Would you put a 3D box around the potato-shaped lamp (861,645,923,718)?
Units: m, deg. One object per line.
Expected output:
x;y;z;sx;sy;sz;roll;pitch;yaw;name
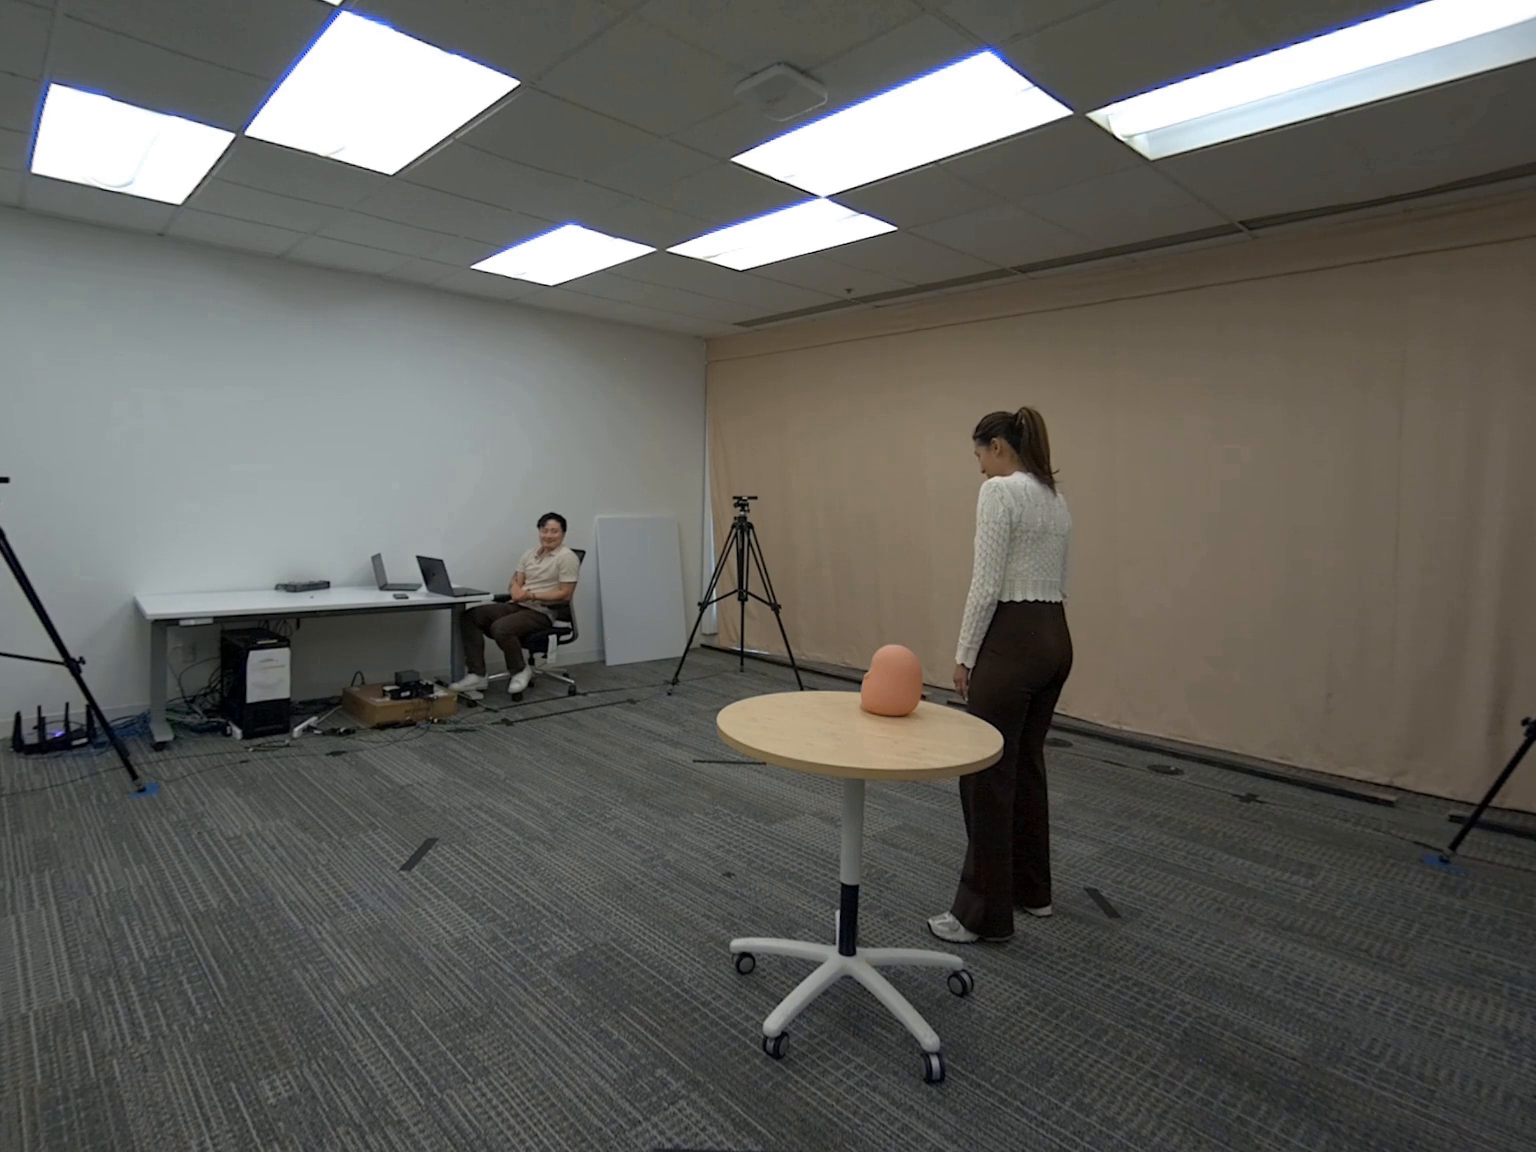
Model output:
0.350;0.299;2.423;0.160;0.198;0.176;3;4;-43;potato-shaped lamp
